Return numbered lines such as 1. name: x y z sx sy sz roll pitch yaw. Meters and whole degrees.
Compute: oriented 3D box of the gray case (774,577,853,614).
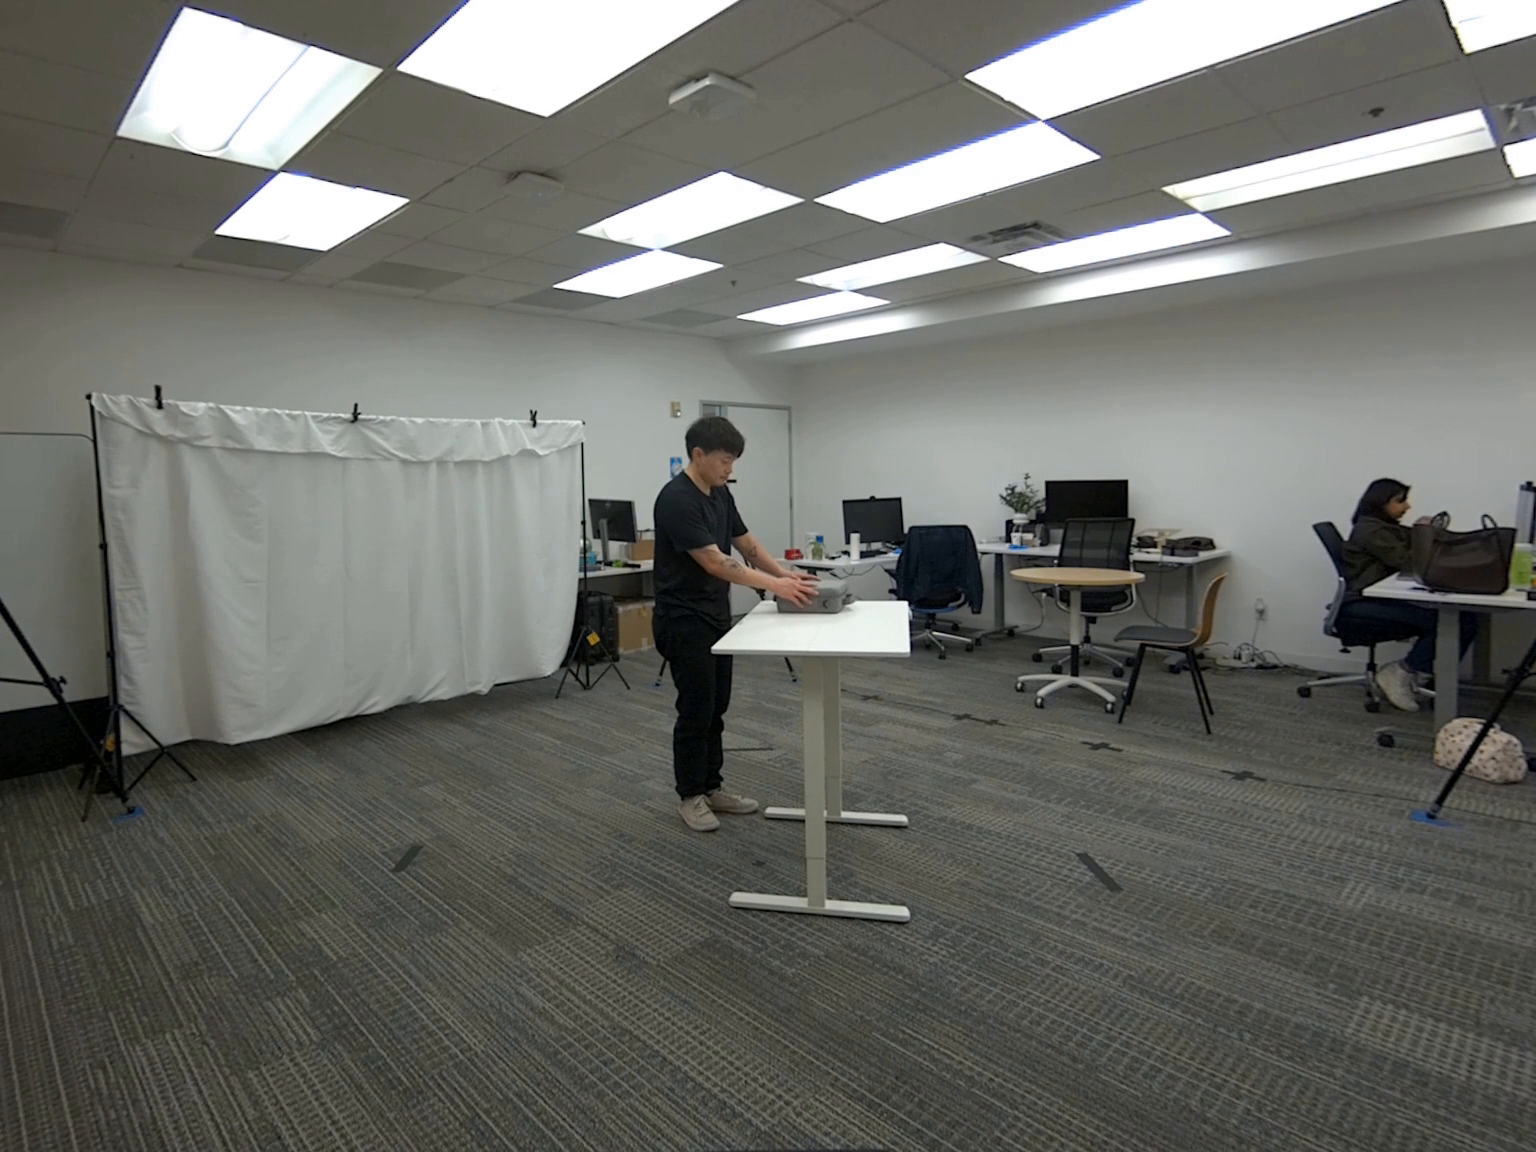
1. gray case: 0.181 0.080 3.361 0.265 0.104 0.253 0 4 17
